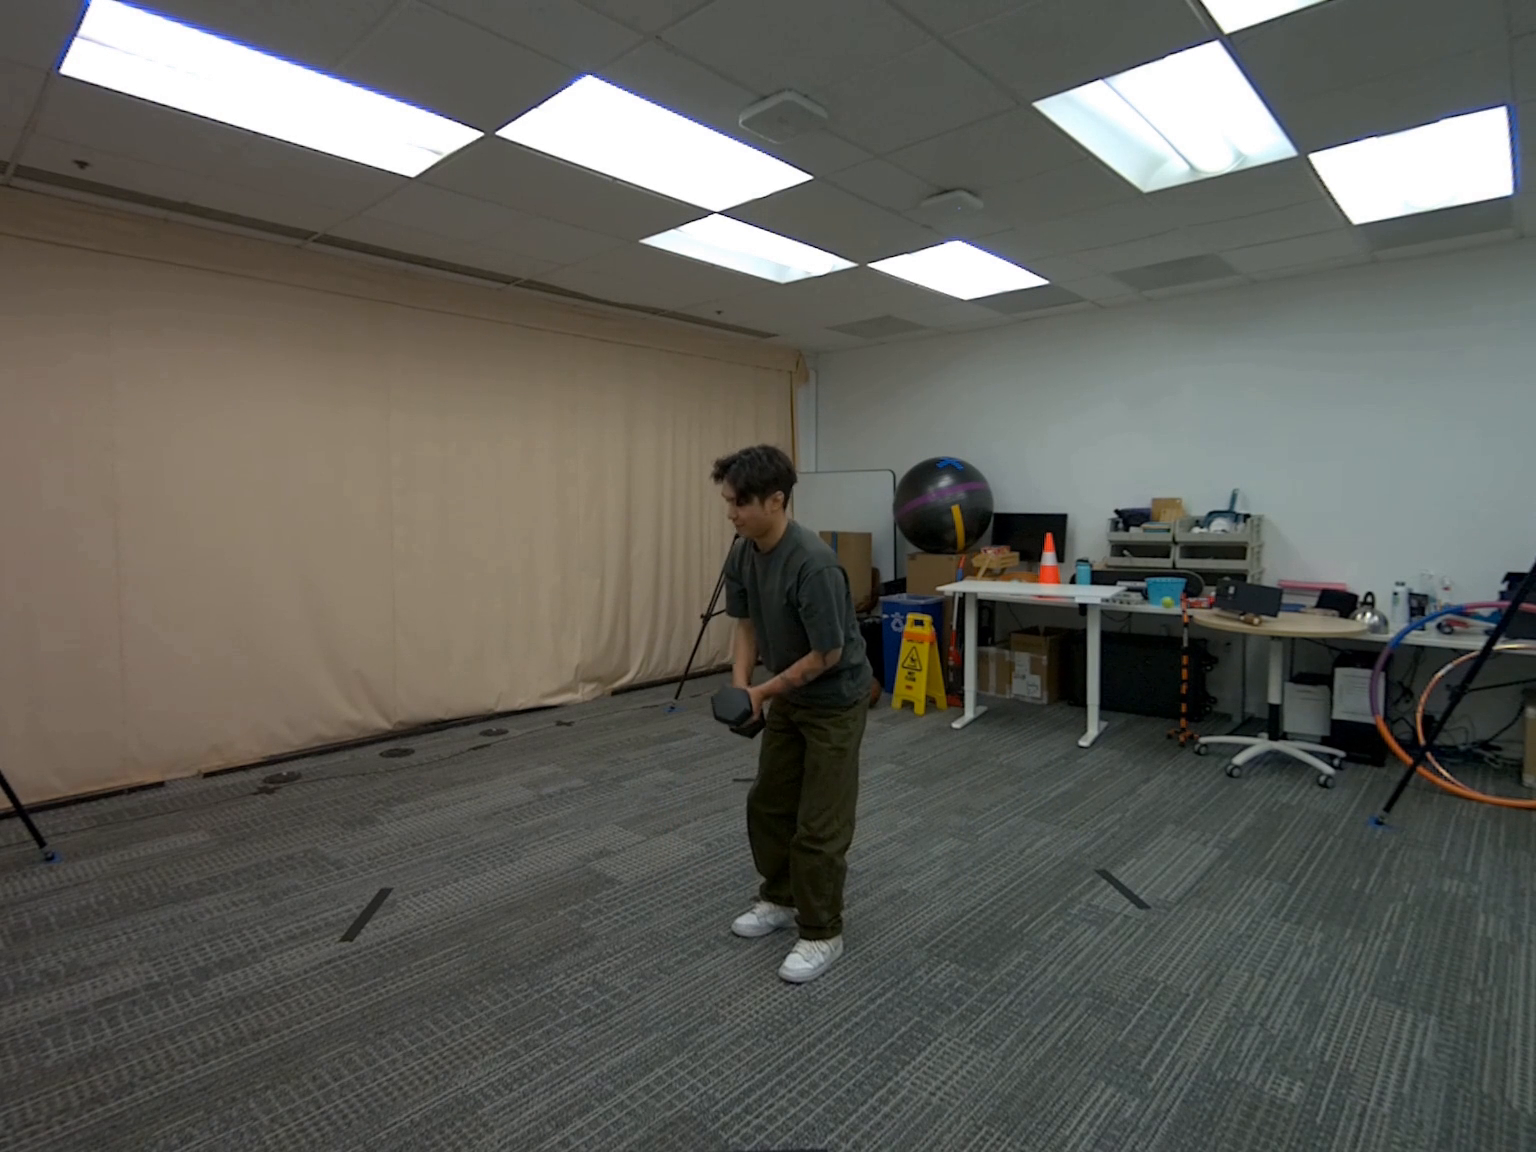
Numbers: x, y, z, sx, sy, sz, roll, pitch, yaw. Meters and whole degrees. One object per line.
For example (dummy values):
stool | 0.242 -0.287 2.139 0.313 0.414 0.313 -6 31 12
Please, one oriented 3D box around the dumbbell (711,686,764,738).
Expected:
dumbbell | -0.083 0.417 2.503 0.109 0.125 0.287 -16 -20 7
